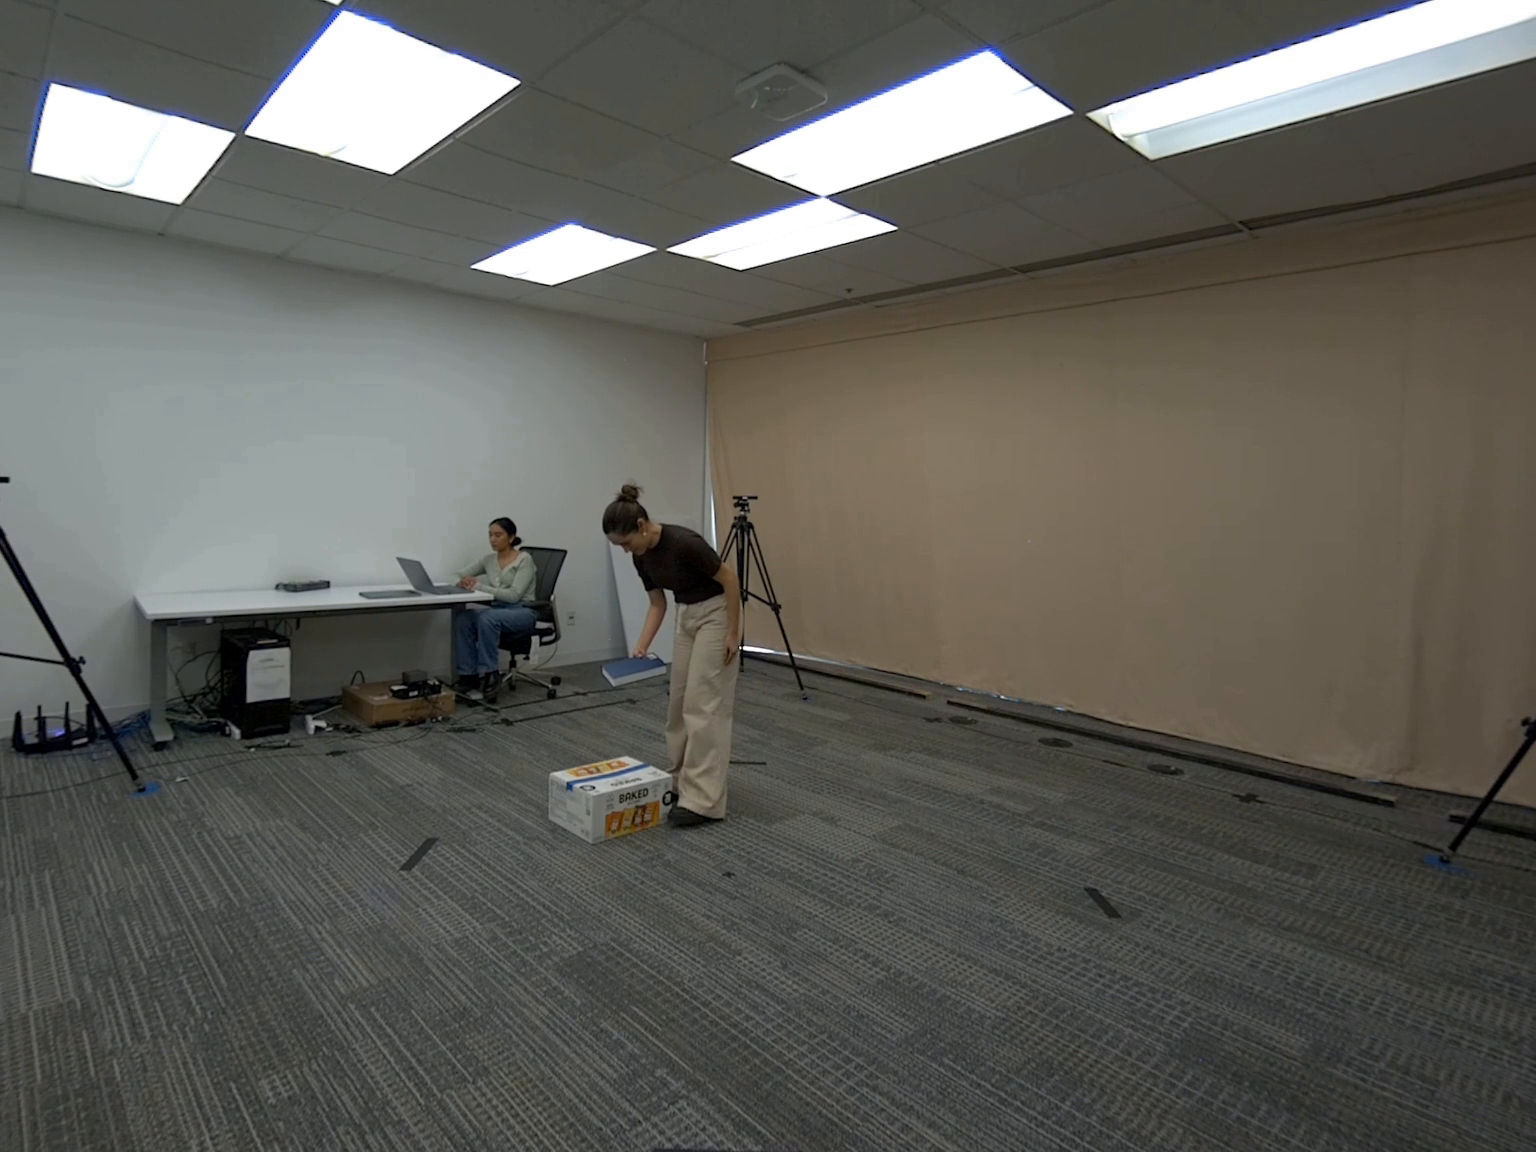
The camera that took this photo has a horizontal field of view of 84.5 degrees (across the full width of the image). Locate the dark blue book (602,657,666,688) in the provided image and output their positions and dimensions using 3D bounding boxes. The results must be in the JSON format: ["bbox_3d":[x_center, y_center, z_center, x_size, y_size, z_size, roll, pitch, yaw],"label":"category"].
[{"bbox_3d":[-0.594,0.400,3.653,0.241,0.044,0.168,-11,18,-24],"label":"dark blue book"}]
